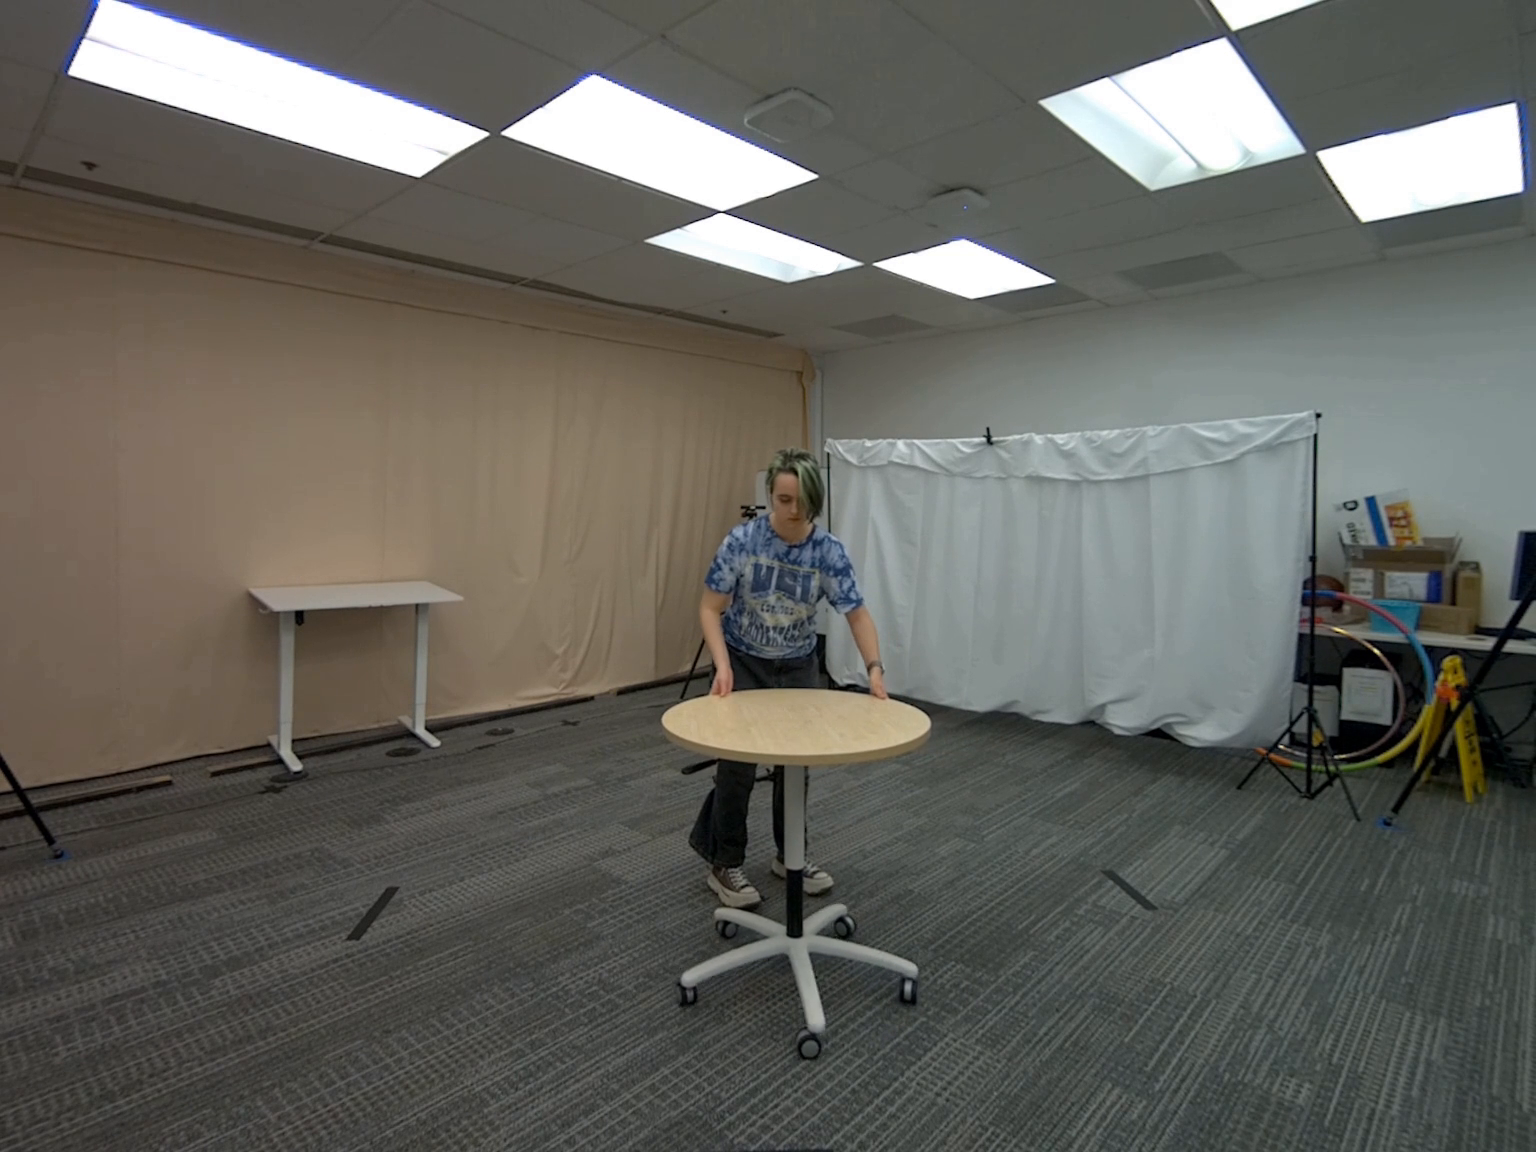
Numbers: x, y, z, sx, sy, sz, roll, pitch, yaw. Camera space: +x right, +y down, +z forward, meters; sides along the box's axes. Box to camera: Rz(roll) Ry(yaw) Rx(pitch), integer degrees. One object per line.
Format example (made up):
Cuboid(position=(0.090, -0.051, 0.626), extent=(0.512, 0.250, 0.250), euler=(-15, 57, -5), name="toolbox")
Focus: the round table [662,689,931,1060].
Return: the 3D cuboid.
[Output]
Cuboid(position=(0.077, 0.798, 2.450), extent=(0.763, 0.792, 0.766), euler=(0, 4, -2), name="round table")
